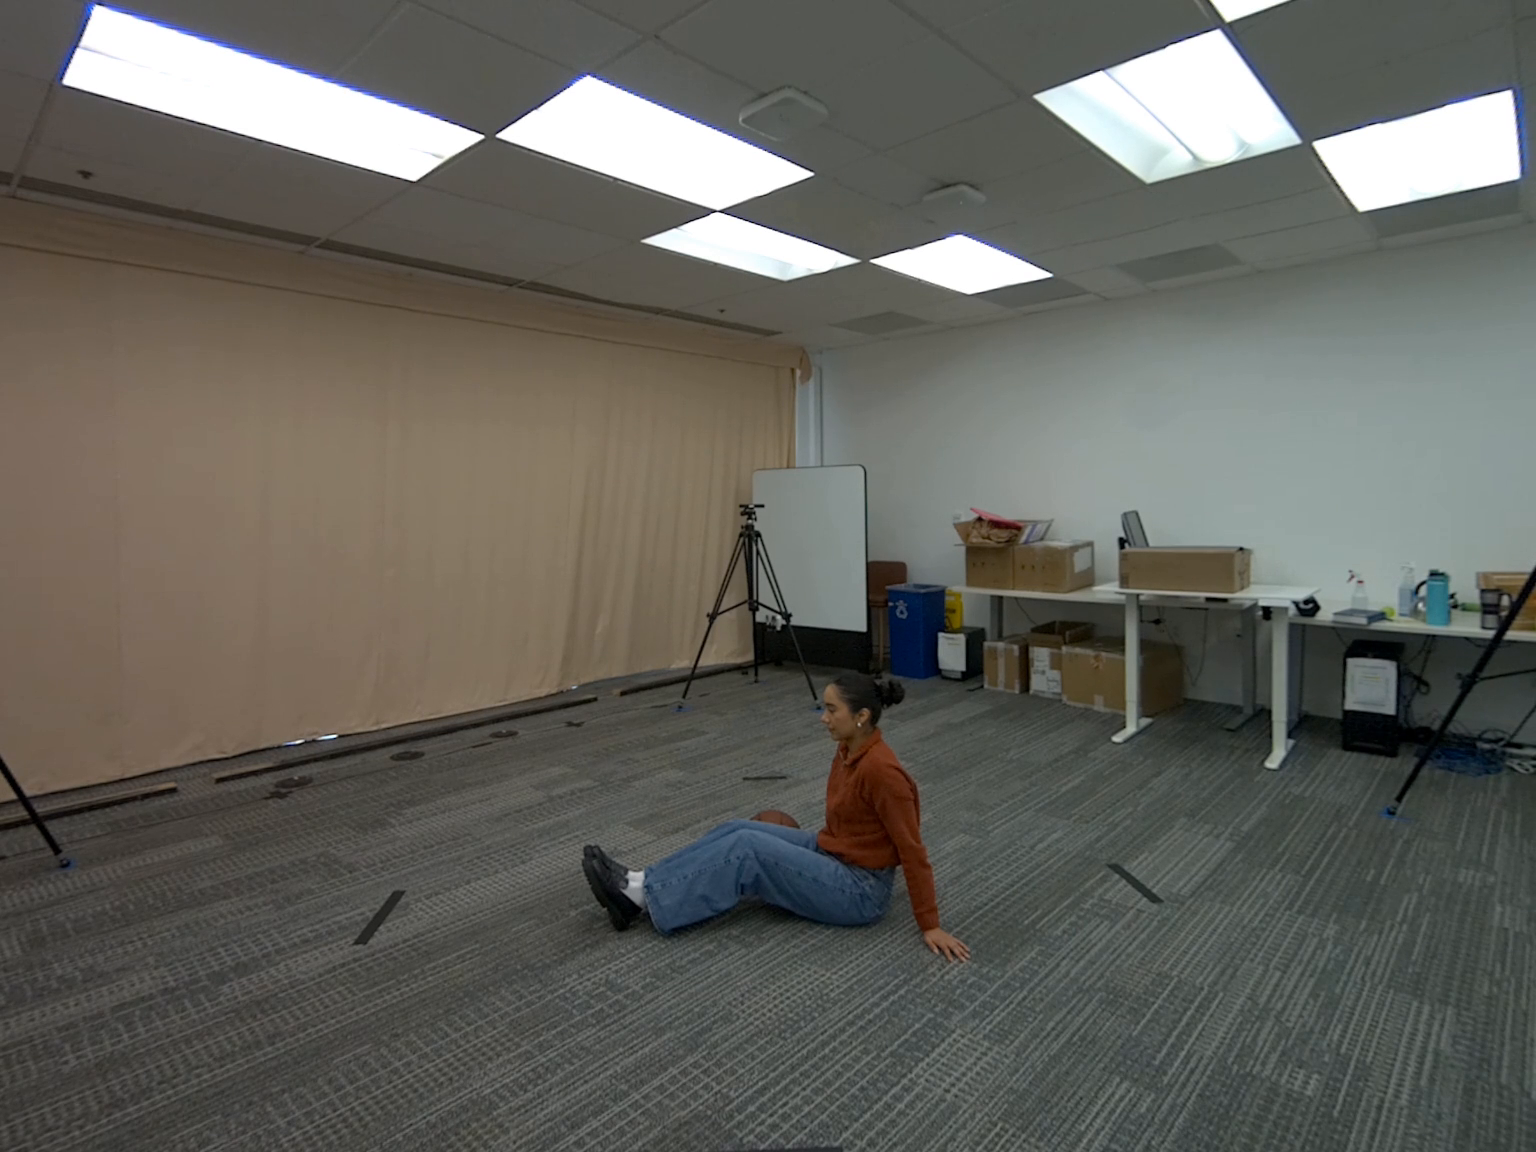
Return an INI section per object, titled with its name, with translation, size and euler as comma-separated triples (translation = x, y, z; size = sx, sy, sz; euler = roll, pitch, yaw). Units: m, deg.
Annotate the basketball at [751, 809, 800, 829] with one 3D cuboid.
[basketball]
translation = 0.019, 1.003, 3.172
size = 0.236, 0.235, 0.237
euler = -1, 4, -2
